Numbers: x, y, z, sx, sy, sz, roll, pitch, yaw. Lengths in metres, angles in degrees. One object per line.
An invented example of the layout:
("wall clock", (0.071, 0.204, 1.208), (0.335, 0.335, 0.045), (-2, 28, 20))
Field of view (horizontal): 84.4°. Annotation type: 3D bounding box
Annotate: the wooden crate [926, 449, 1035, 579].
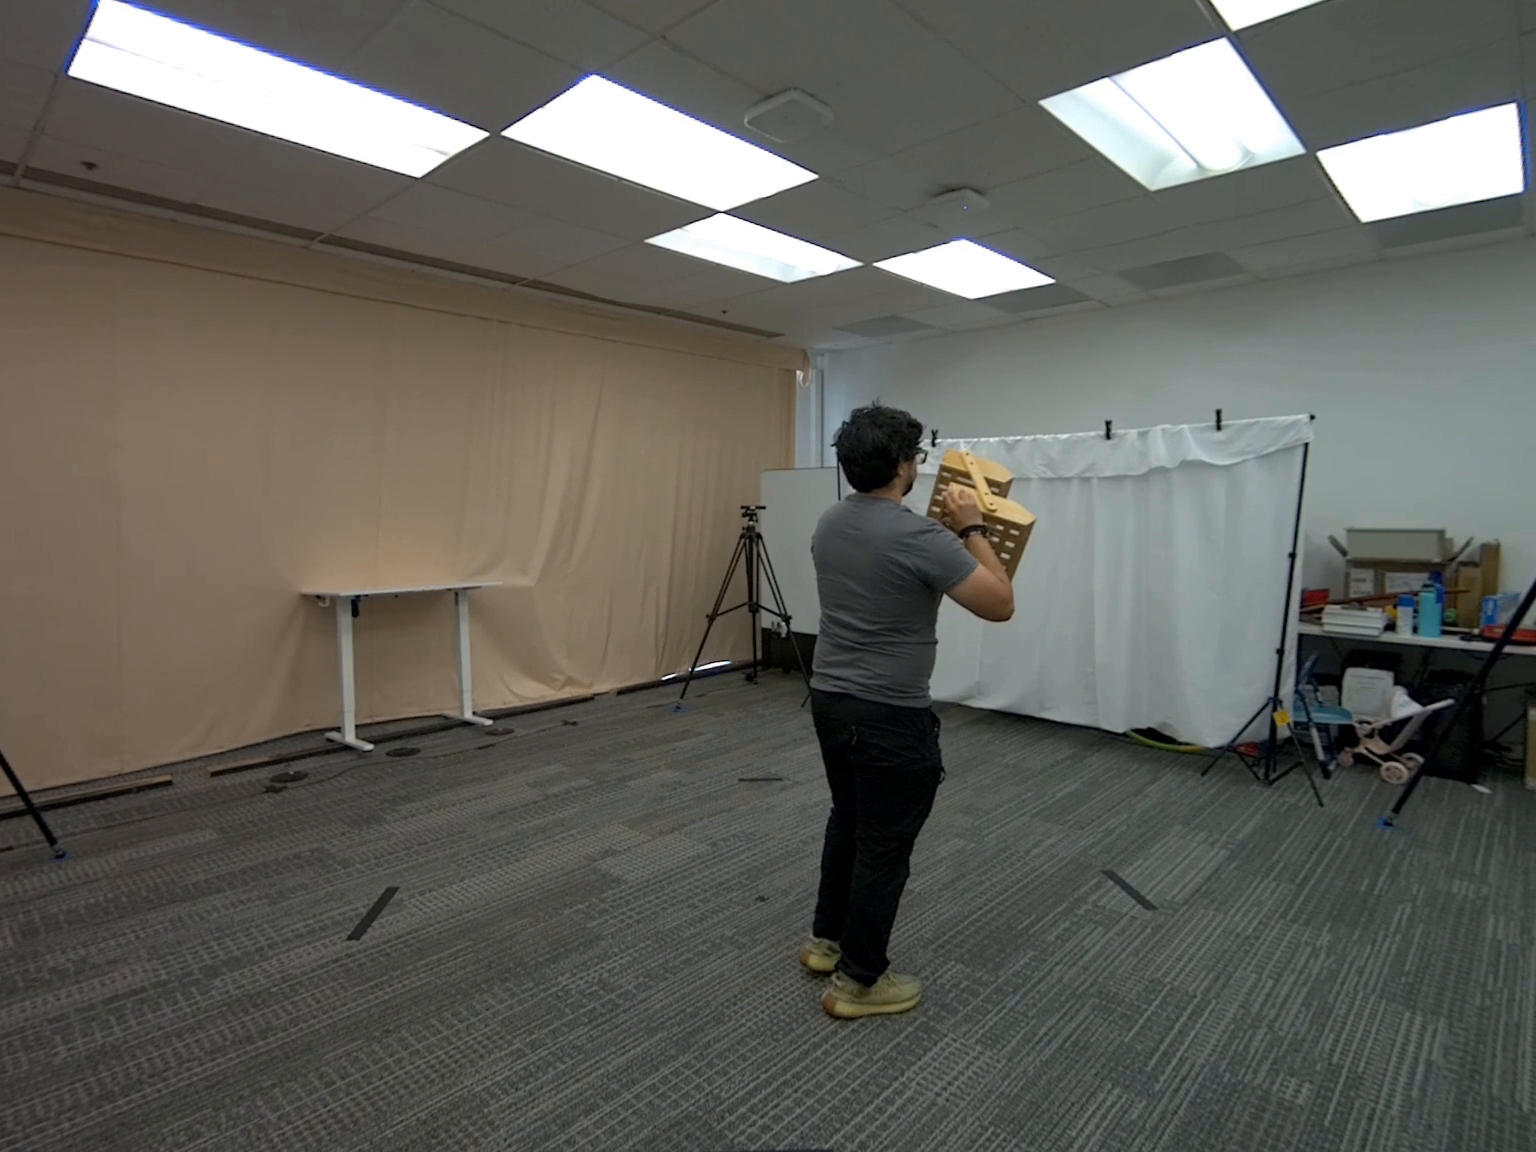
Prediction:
("wooden crate", (0.623, -0.149, 2.491), (0.307, 0.319, 0.273), (19, 43, 13))
